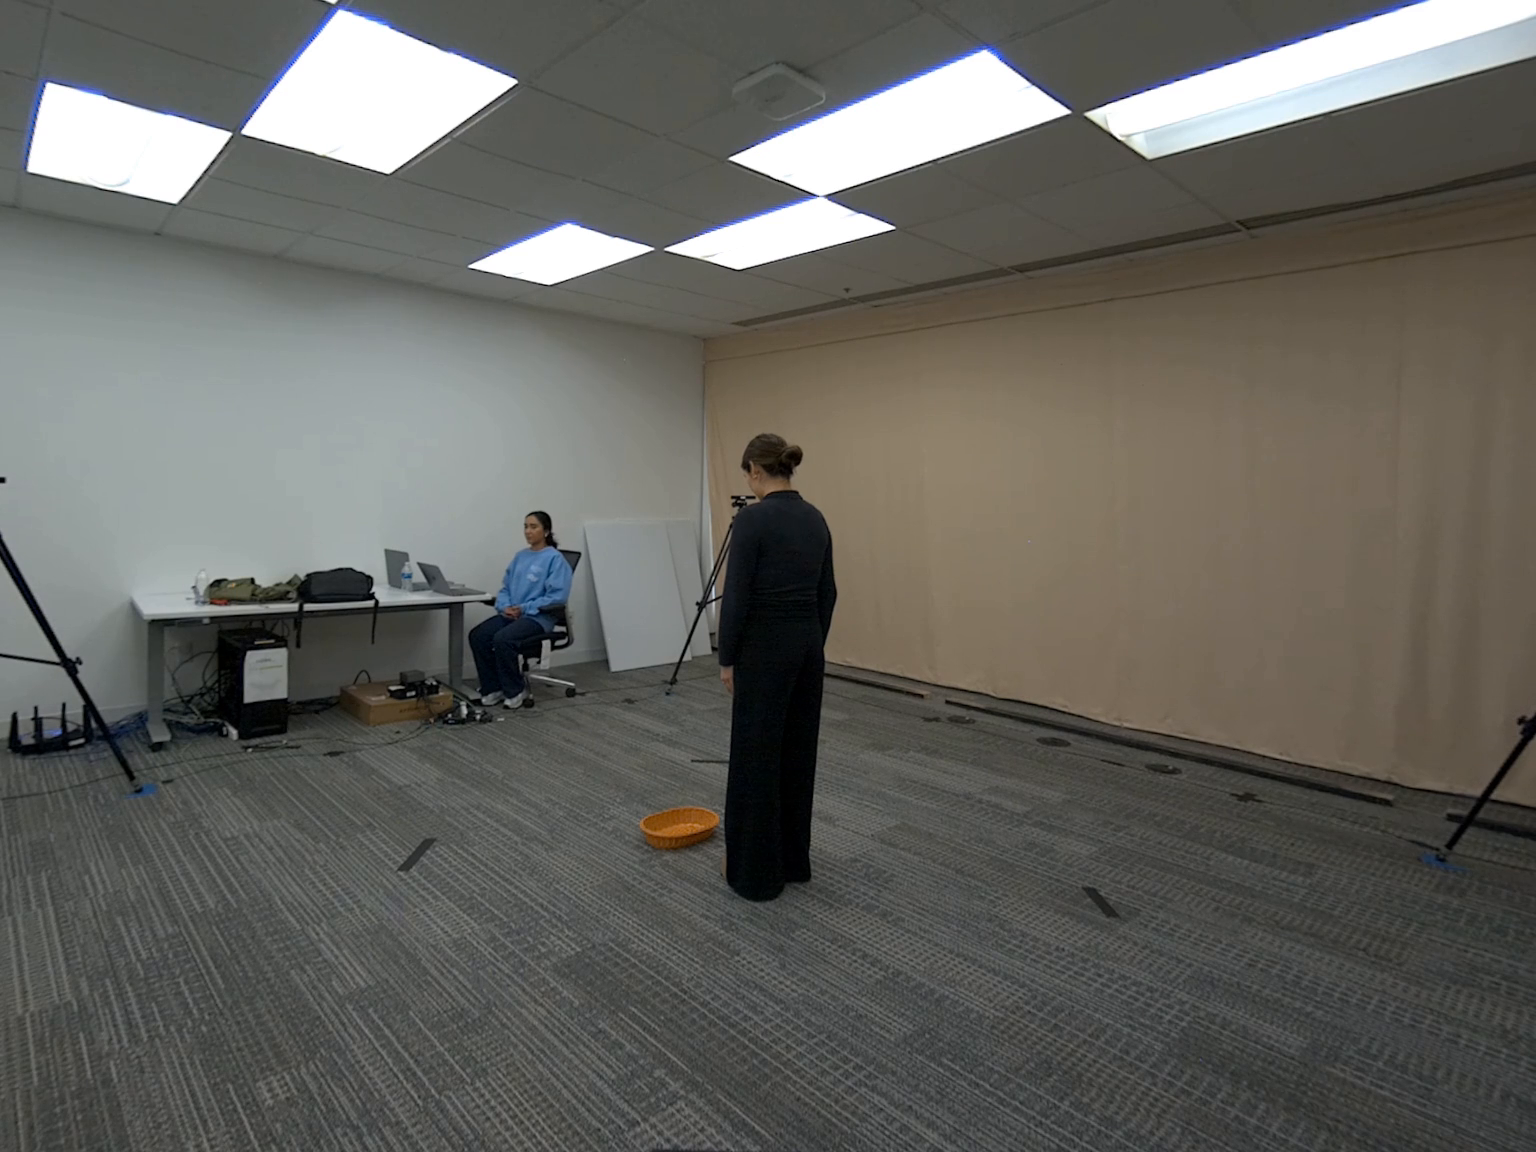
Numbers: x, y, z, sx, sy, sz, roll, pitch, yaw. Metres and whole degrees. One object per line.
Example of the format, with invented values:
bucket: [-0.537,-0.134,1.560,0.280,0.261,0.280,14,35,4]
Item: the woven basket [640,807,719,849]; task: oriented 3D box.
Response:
woven basket: [-0.369,1.029,3.433,0.342,0.073,0.259,-3,7,-41]
